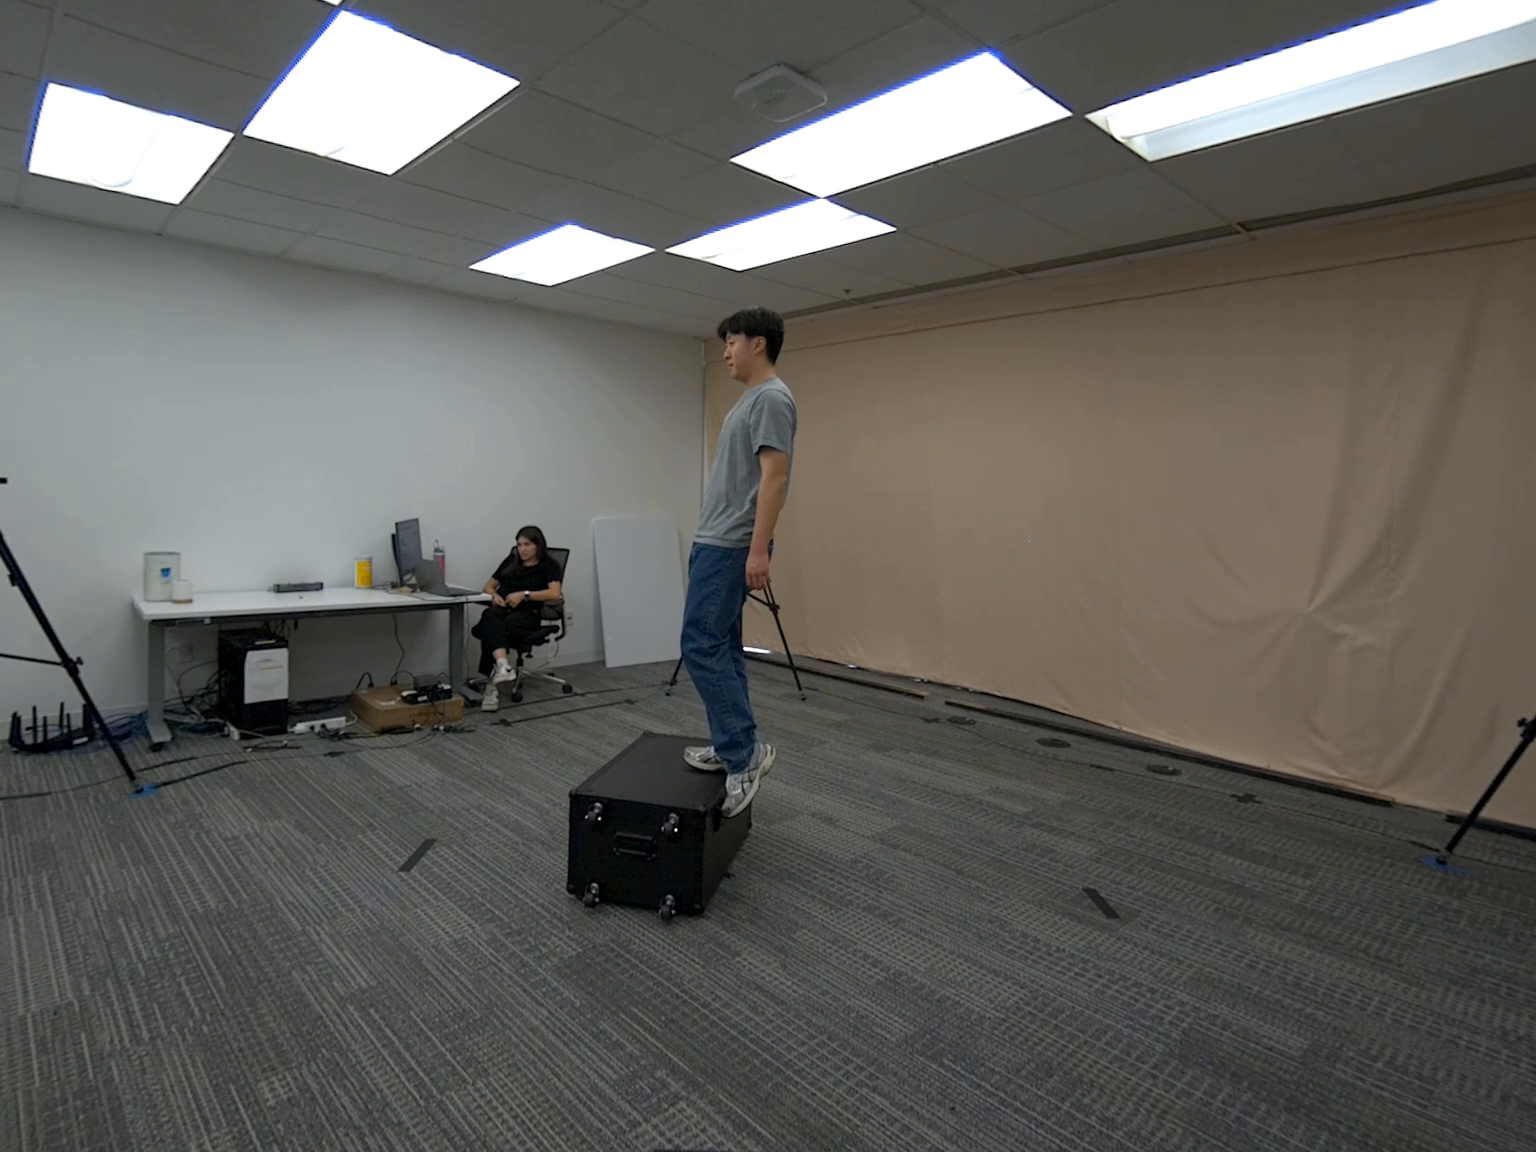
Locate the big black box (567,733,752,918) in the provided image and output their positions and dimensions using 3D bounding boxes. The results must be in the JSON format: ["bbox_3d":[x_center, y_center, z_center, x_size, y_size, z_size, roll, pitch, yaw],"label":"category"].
[{"bbox_3d":[-0.385,0.901,3.154,0.527,0.395,0.855,4,5,12],"label":"big black box"}]
